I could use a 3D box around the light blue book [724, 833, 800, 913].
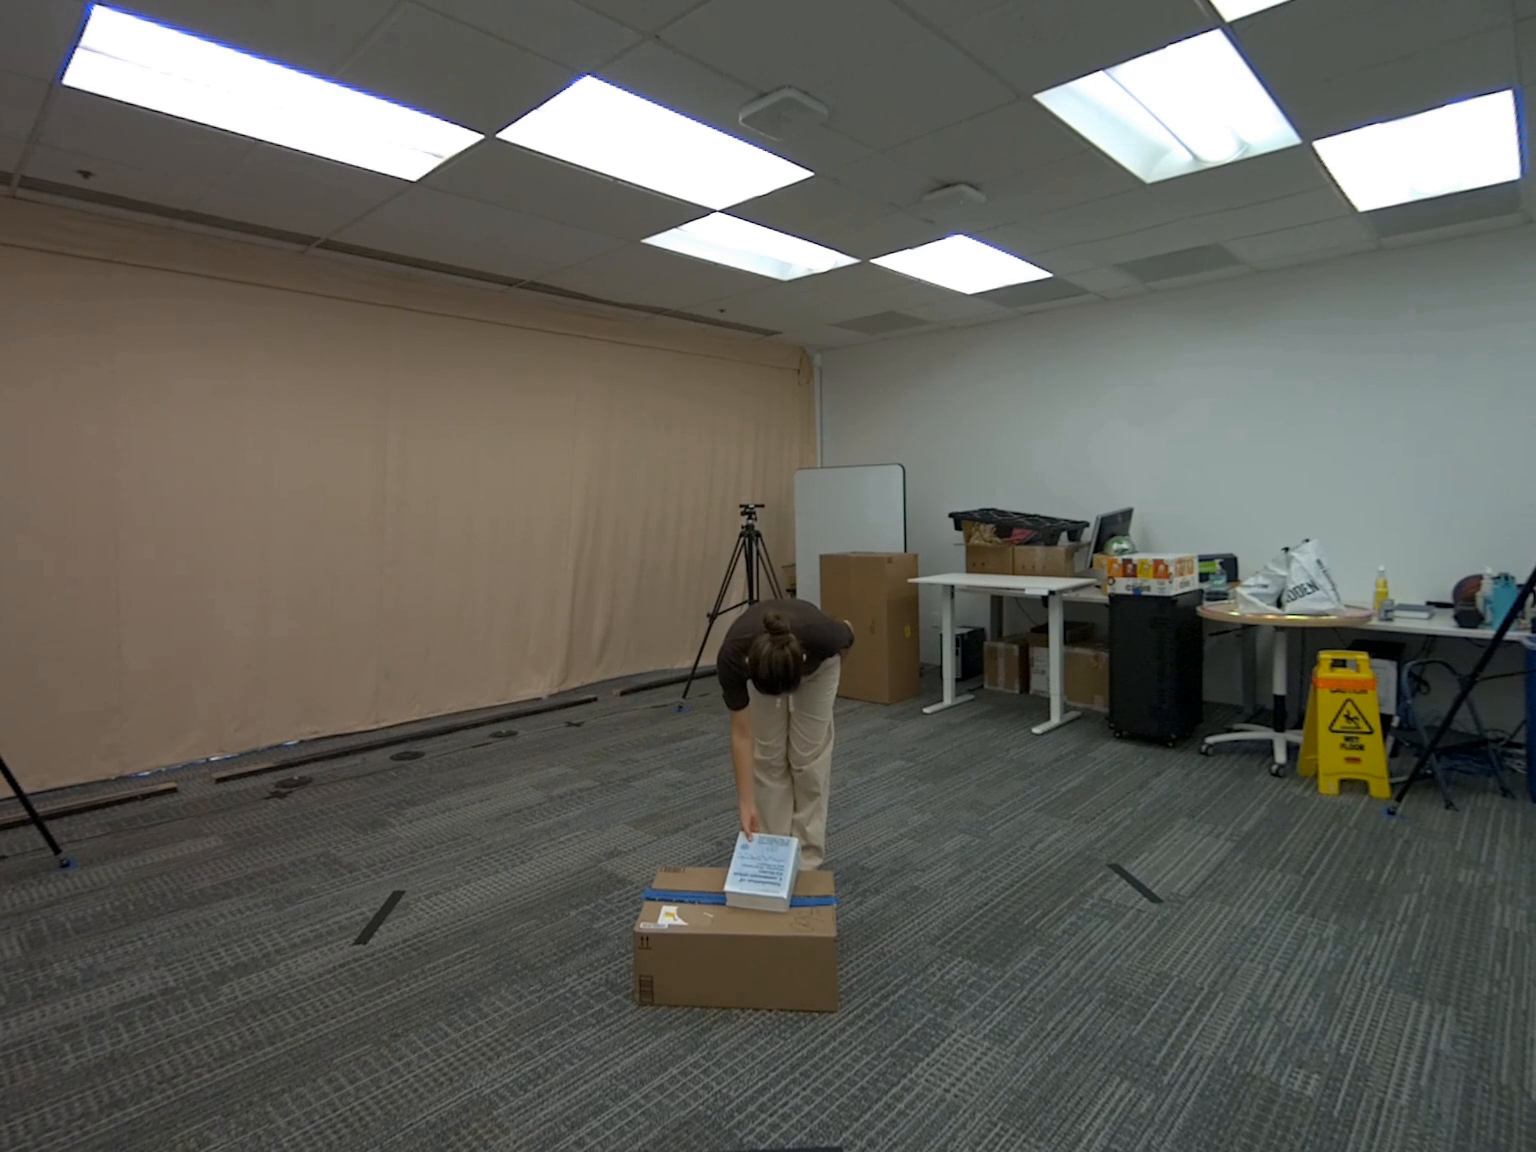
[{"bbox_3d":[-0.008,0.893,2.573,0.194,0.058,0.261,1,22,12],"label":"light blue book"}]
